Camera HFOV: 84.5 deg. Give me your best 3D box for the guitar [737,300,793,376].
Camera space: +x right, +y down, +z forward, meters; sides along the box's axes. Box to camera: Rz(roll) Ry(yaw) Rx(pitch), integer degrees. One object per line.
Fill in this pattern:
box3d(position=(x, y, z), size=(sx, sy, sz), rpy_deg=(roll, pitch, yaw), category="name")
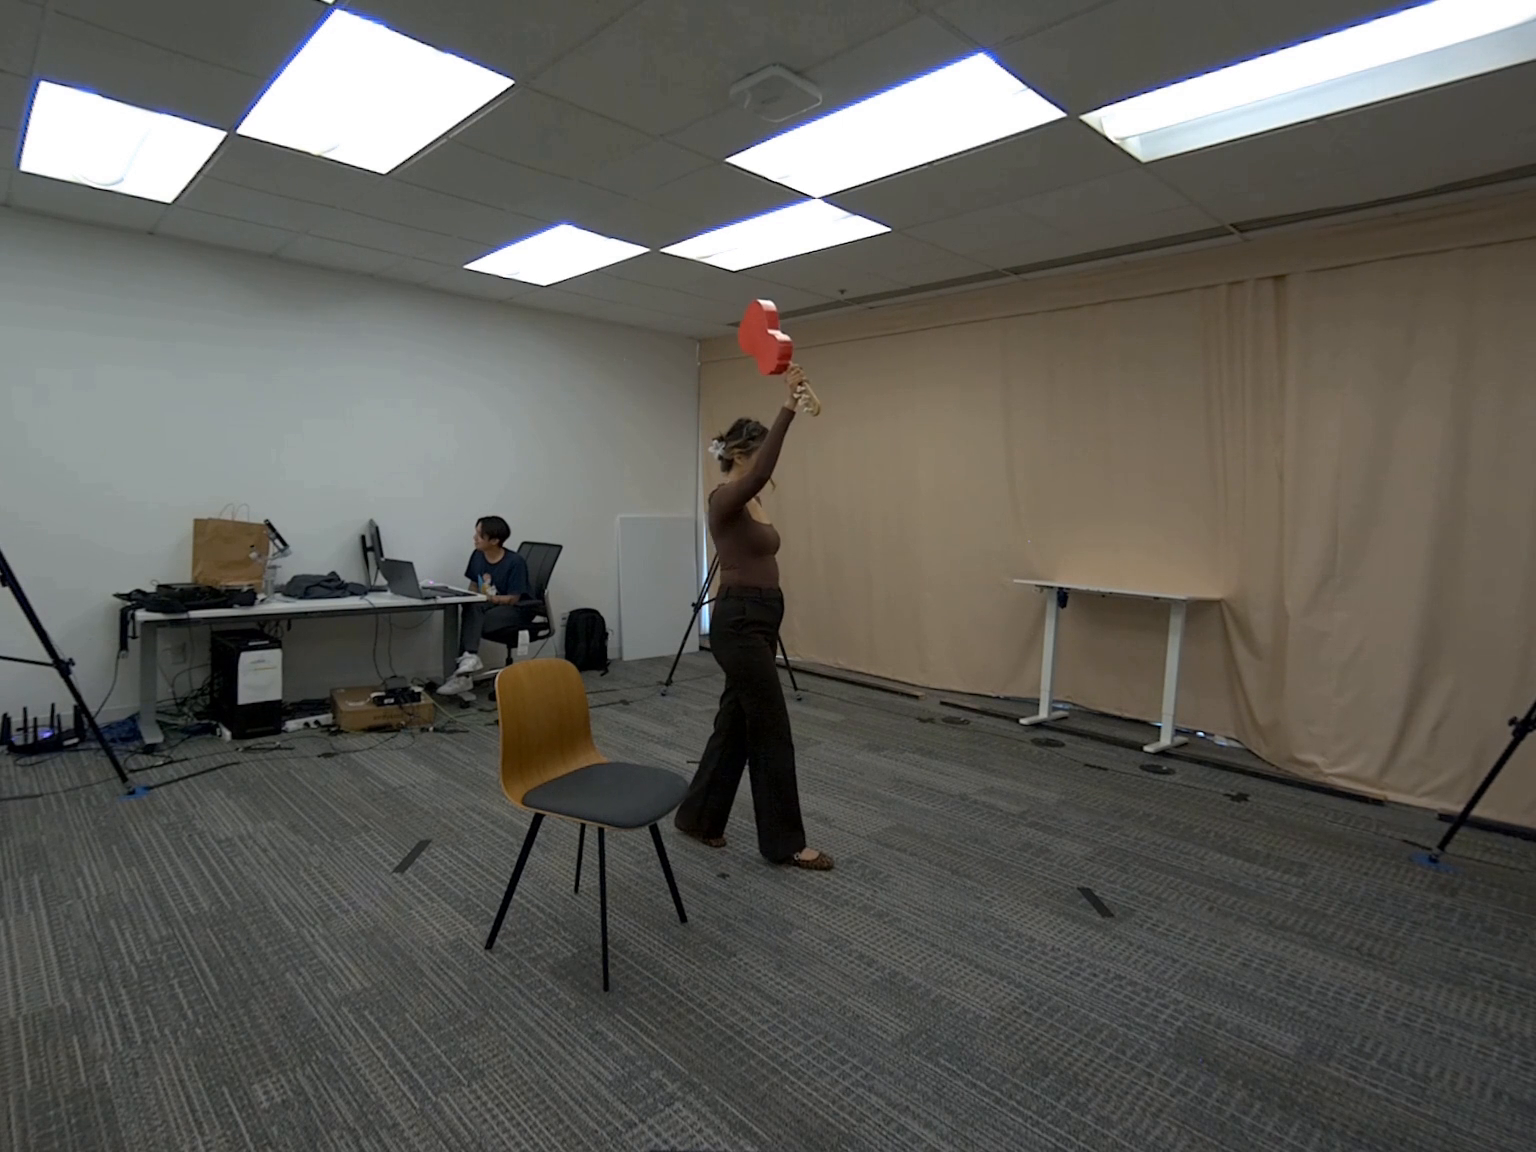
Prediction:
box3d(position=(0.043, -0.752, 2.865), size=(0.069, 0.191, 0.513), rpy_deg=(-6, 46, -31), category="guitar")
